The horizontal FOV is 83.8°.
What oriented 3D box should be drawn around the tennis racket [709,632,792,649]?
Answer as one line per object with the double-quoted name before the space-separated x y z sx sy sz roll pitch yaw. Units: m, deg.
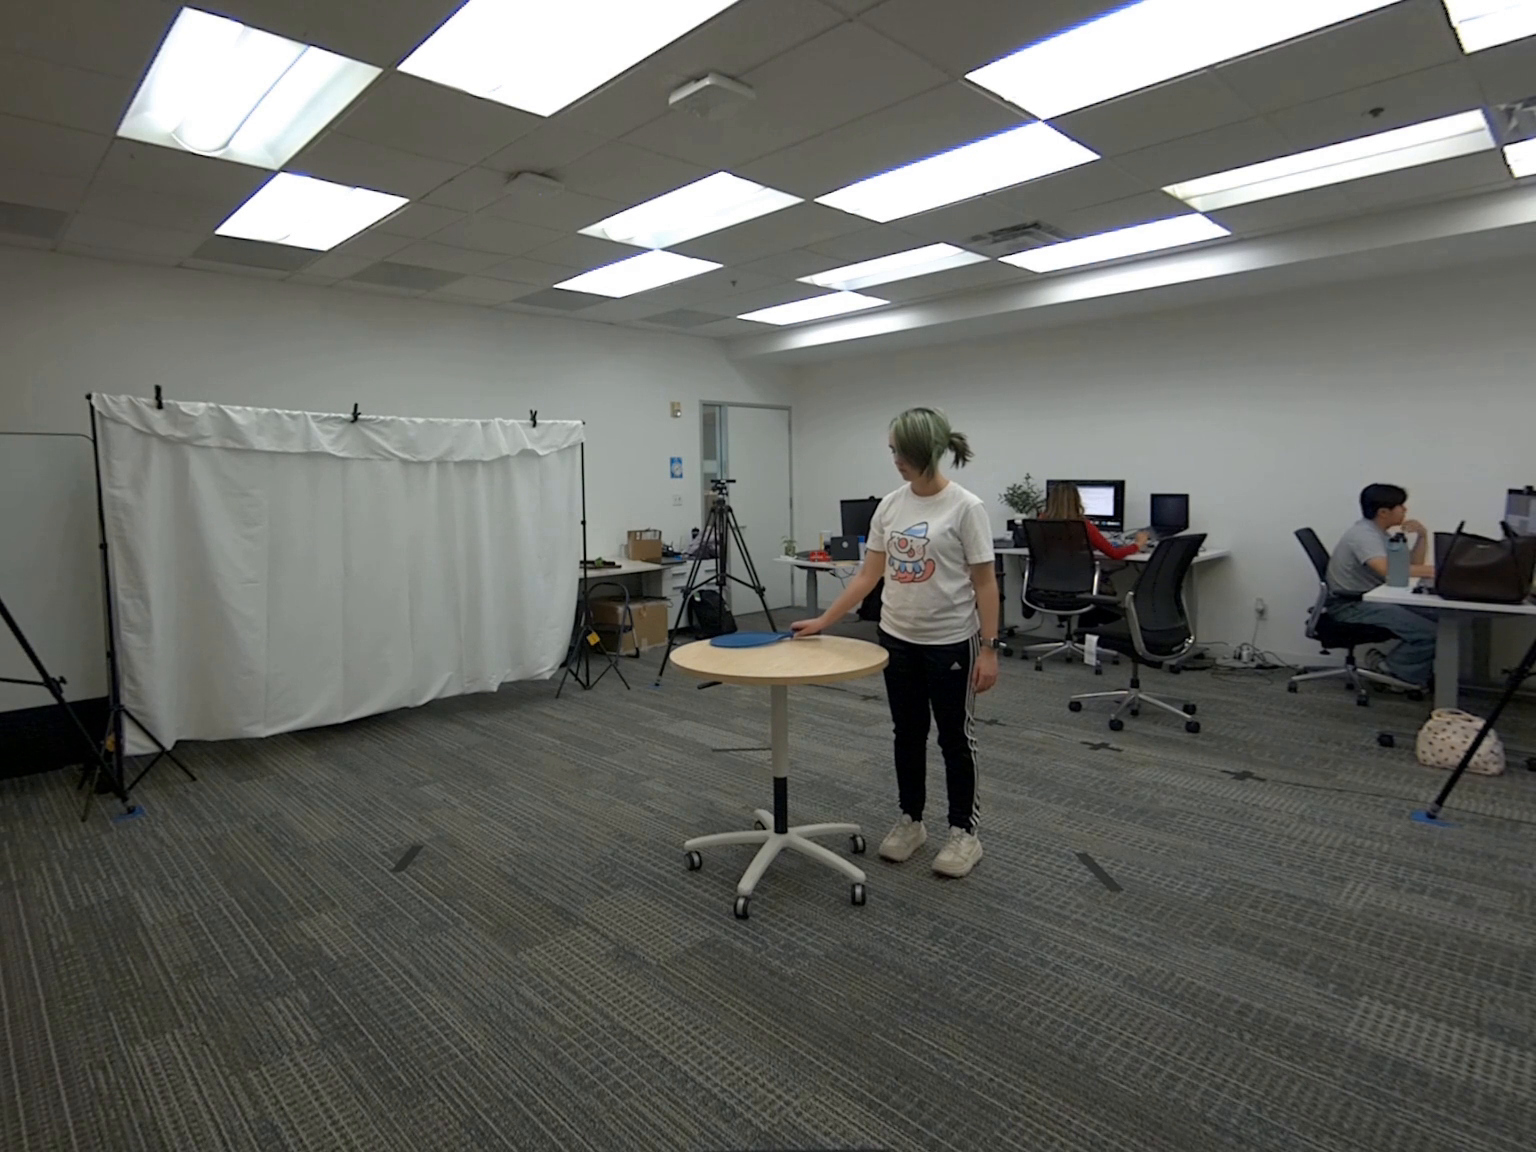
"tennis racket" -0.003 0.235 3.223 0.431 0.031 0.216 -4 8 -5
